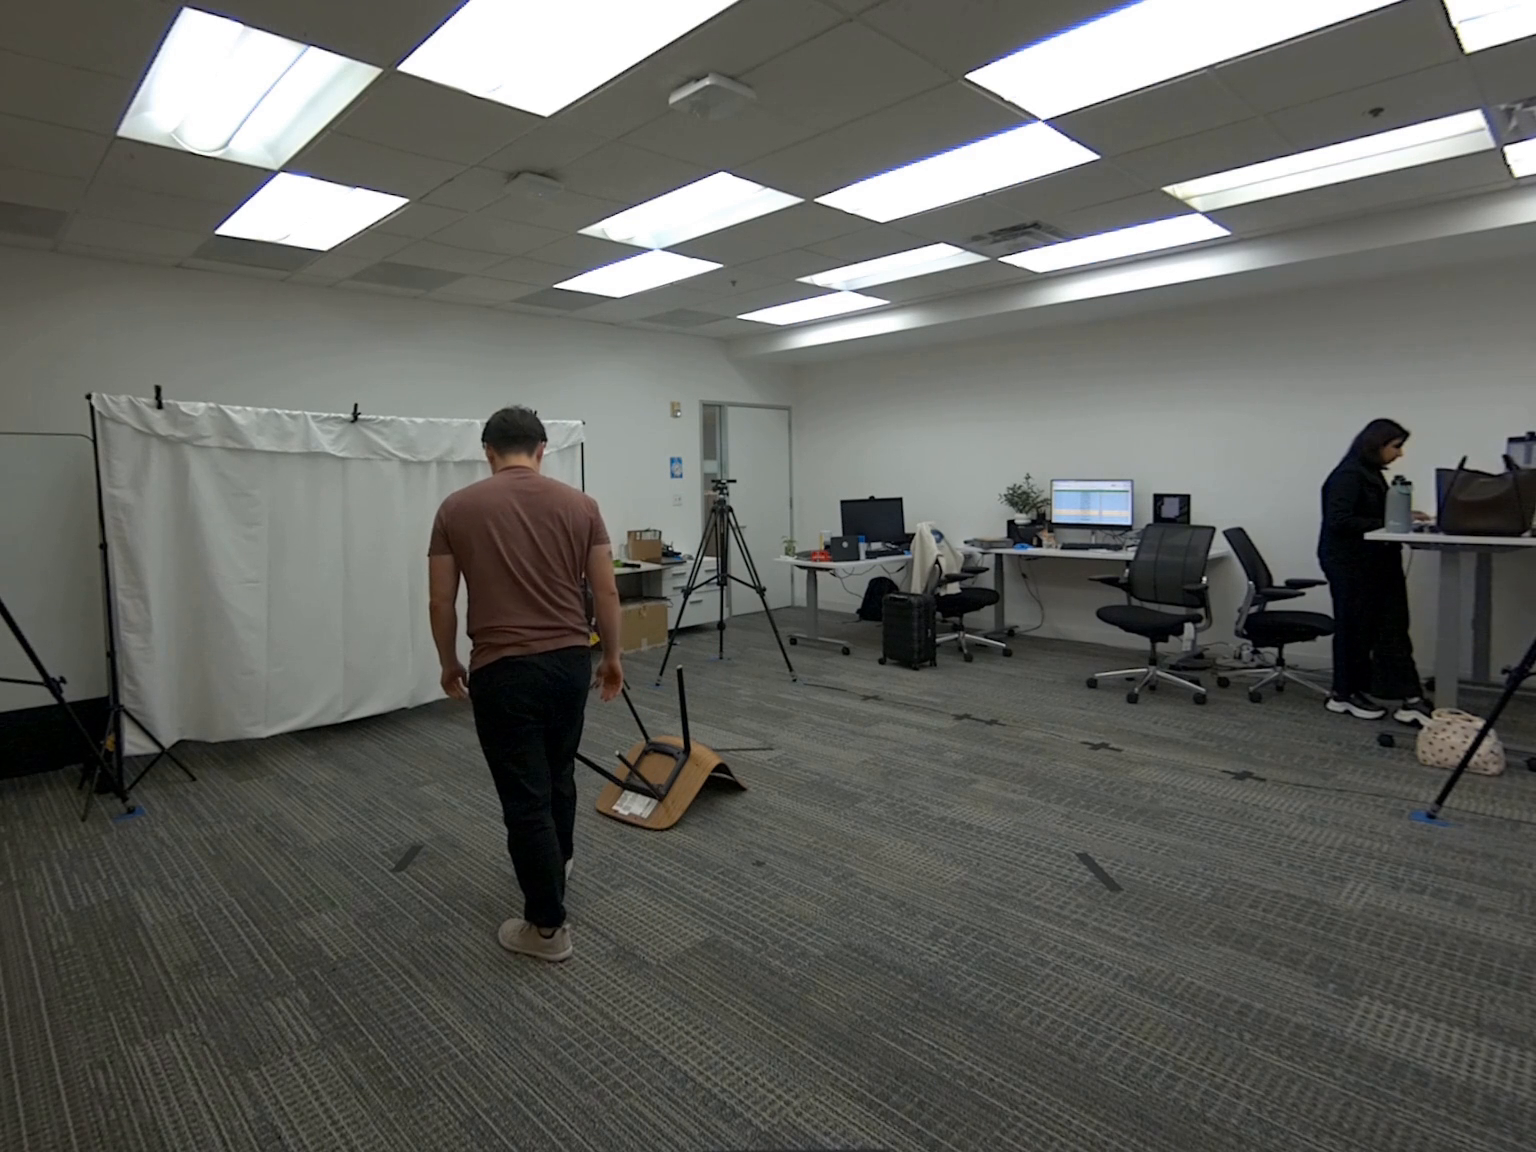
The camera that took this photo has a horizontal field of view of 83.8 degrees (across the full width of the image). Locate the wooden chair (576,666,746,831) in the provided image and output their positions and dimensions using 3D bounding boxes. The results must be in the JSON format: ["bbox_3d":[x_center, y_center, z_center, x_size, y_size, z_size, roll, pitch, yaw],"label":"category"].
[{"bbox_3d":[-0.485,0.825,3.650,0.492,0.847,0.526,2,45,37],"label":"wooden chair"}]
